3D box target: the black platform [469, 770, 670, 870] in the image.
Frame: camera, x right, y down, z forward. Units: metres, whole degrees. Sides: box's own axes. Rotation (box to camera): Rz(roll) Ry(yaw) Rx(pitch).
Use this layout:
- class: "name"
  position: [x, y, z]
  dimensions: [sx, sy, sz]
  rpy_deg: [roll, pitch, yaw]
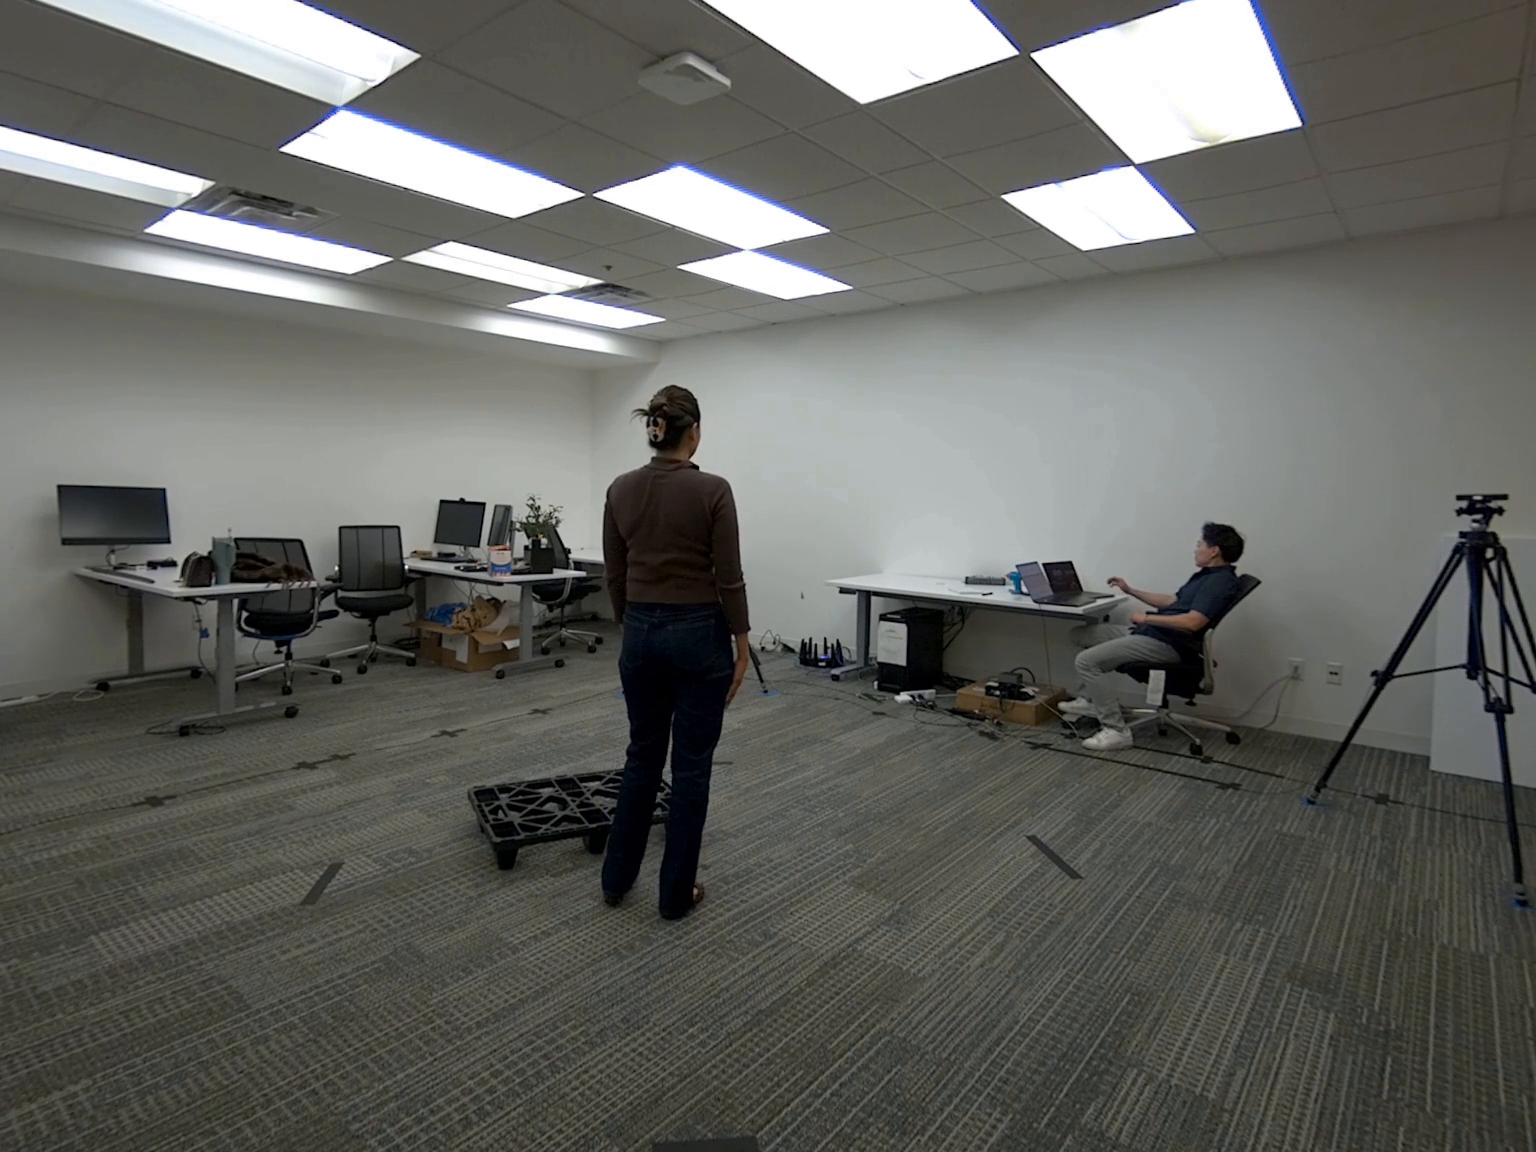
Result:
- class: "black platform"
  position: [-0.773, 0.958, 3.427]
  dimensions: [0.786, 0.143, 0.622]
  rpy_deg: [-2, 5, -26]
